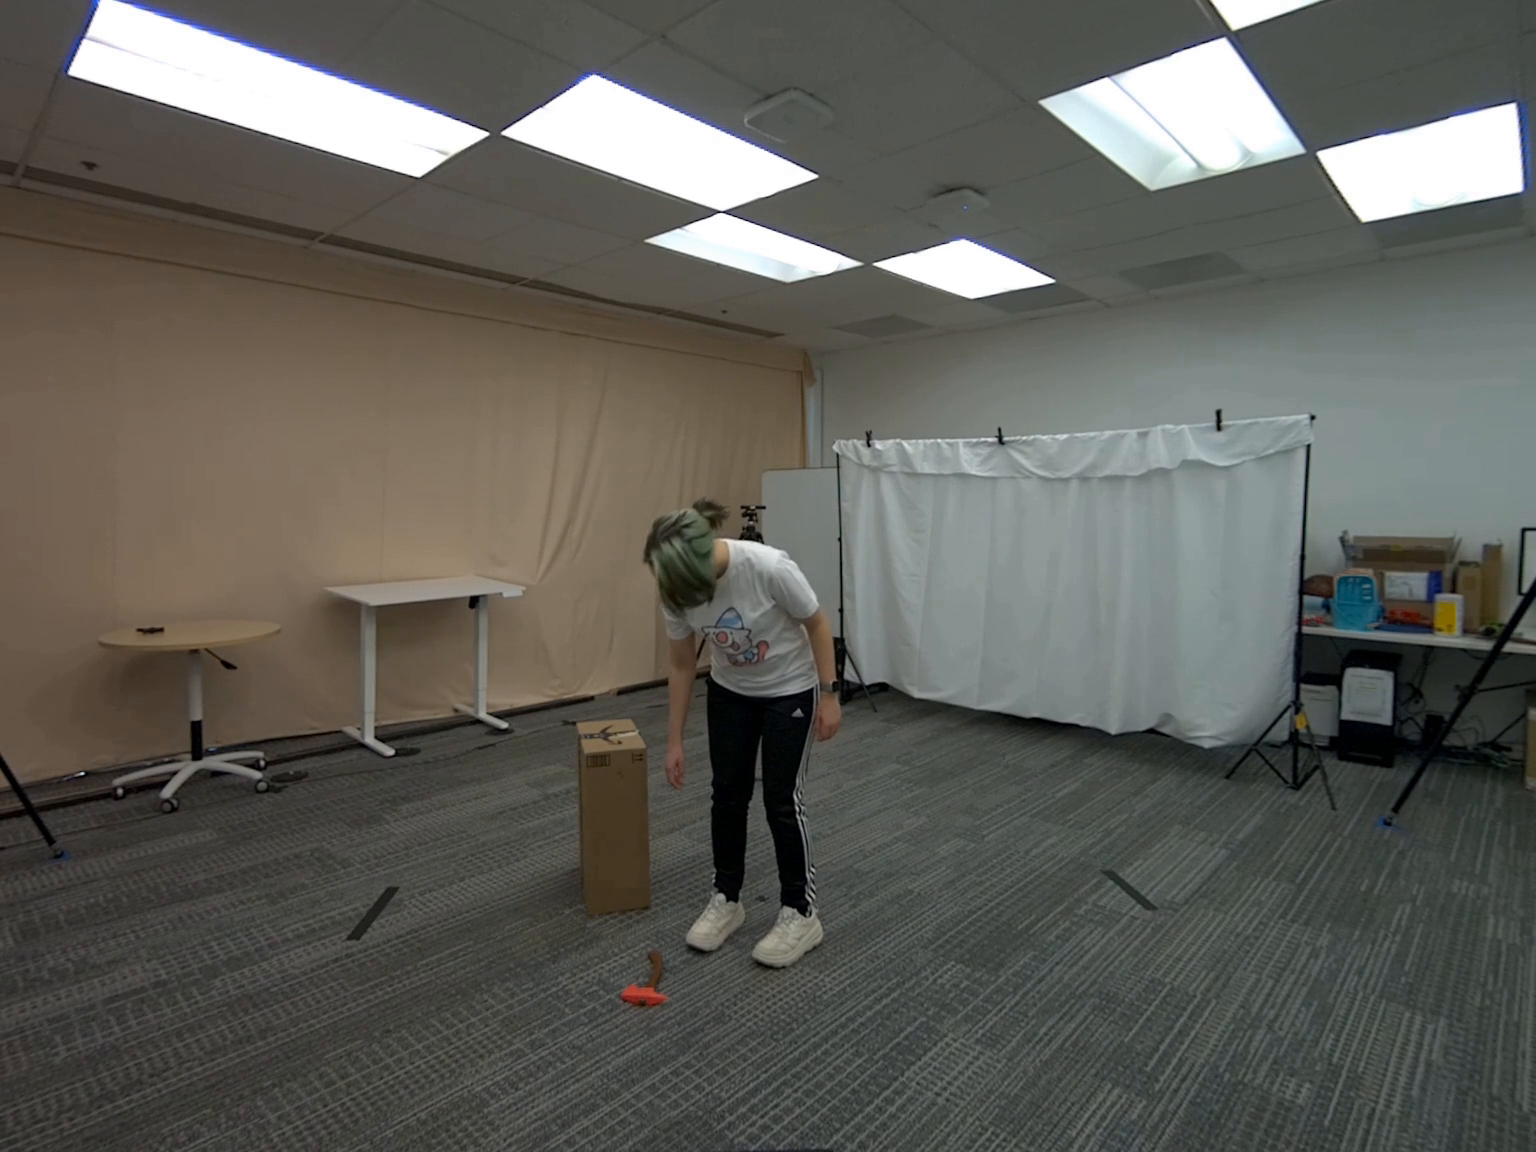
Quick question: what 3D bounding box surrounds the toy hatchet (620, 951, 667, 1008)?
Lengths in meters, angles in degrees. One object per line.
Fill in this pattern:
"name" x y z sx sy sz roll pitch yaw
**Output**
"toy hatchet" -0.369 1.182 2.463 0.130 0.029 0.273 -4 3 -10
